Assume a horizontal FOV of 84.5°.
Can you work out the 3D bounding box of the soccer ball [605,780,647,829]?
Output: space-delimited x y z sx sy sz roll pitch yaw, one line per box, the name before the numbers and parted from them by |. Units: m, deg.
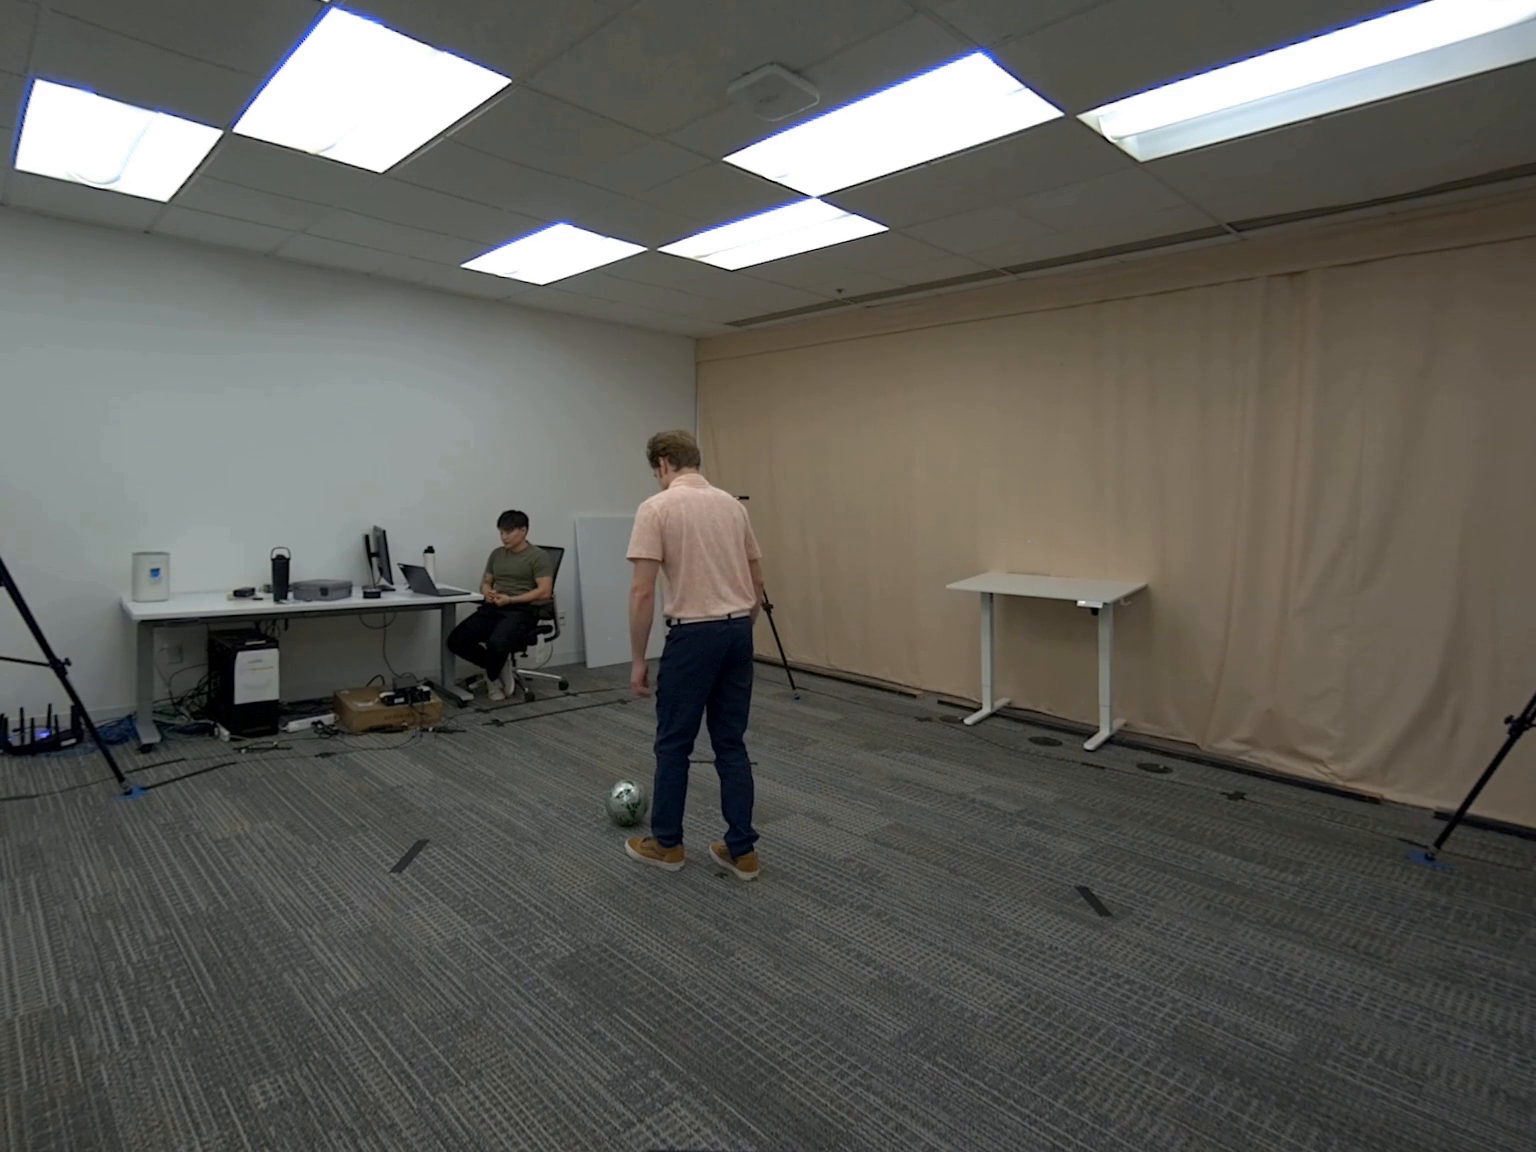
soccer ball | -0.604 0.960 3.567 0.187 0.187 0.188 1 4 -1
